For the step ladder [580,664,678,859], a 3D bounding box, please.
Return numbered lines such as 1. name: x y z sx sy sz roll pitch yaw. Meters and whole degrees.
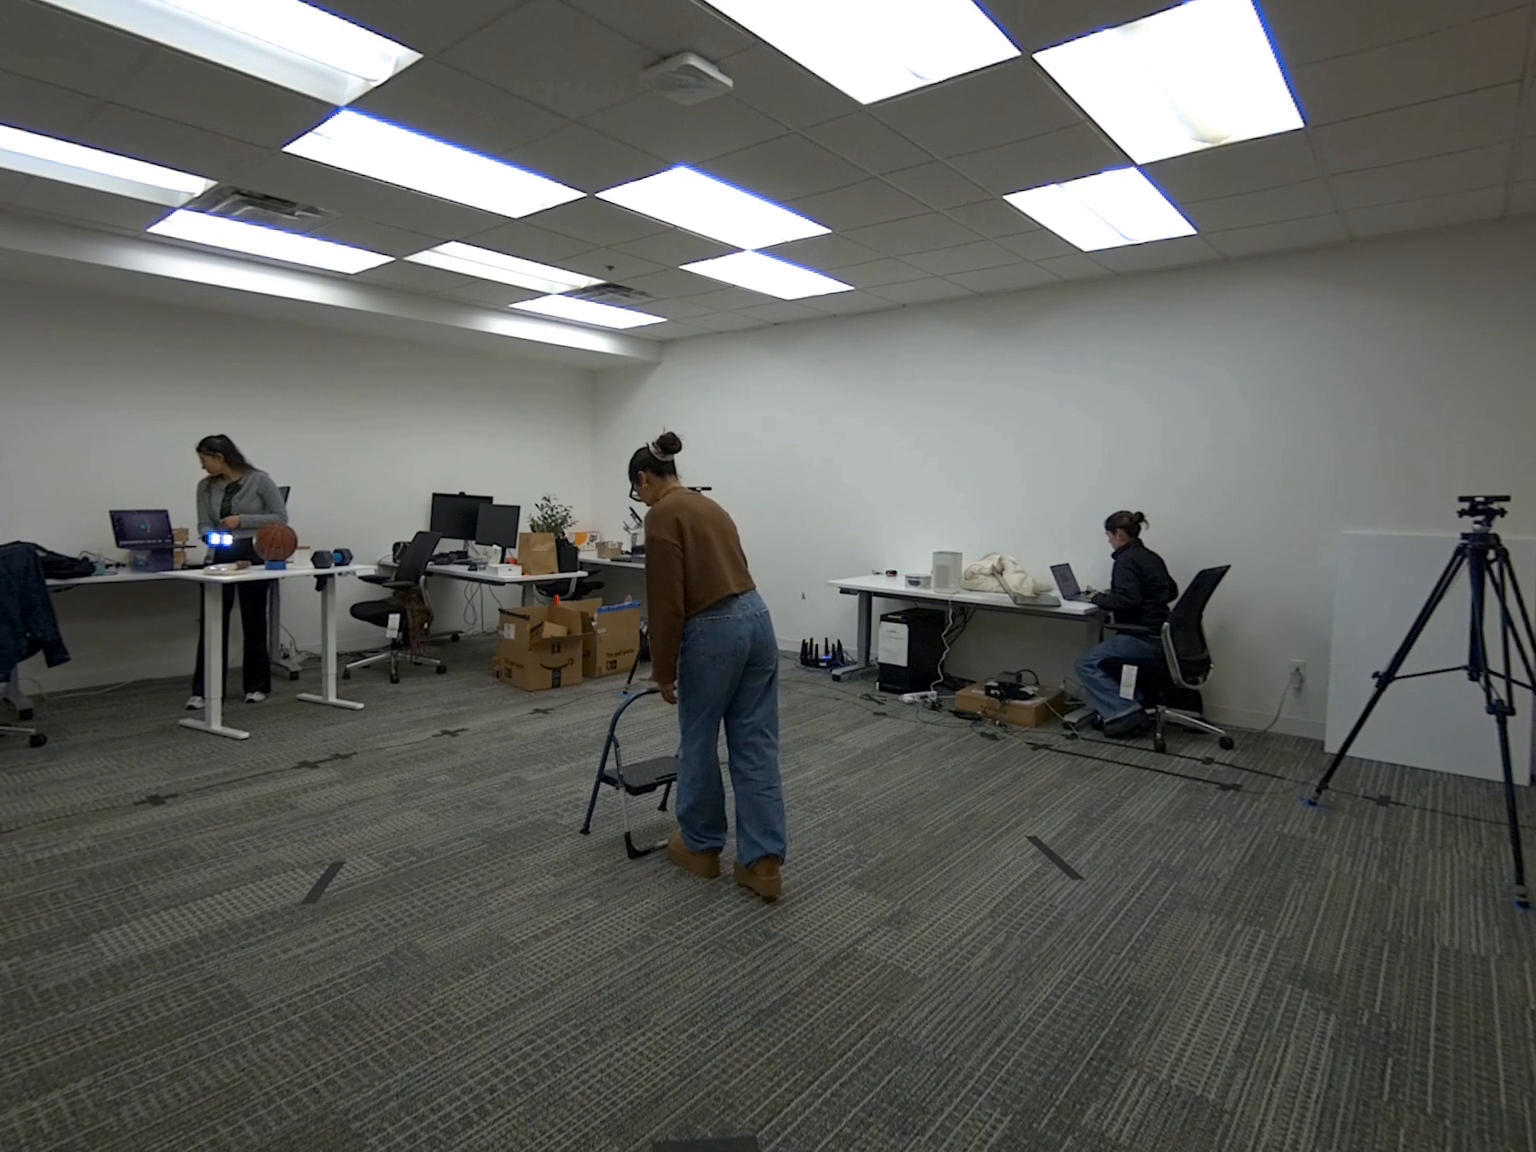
1. step ladder: -0.494 0.726 3.412 0.417 0.604 0.361 -3 6 -44
